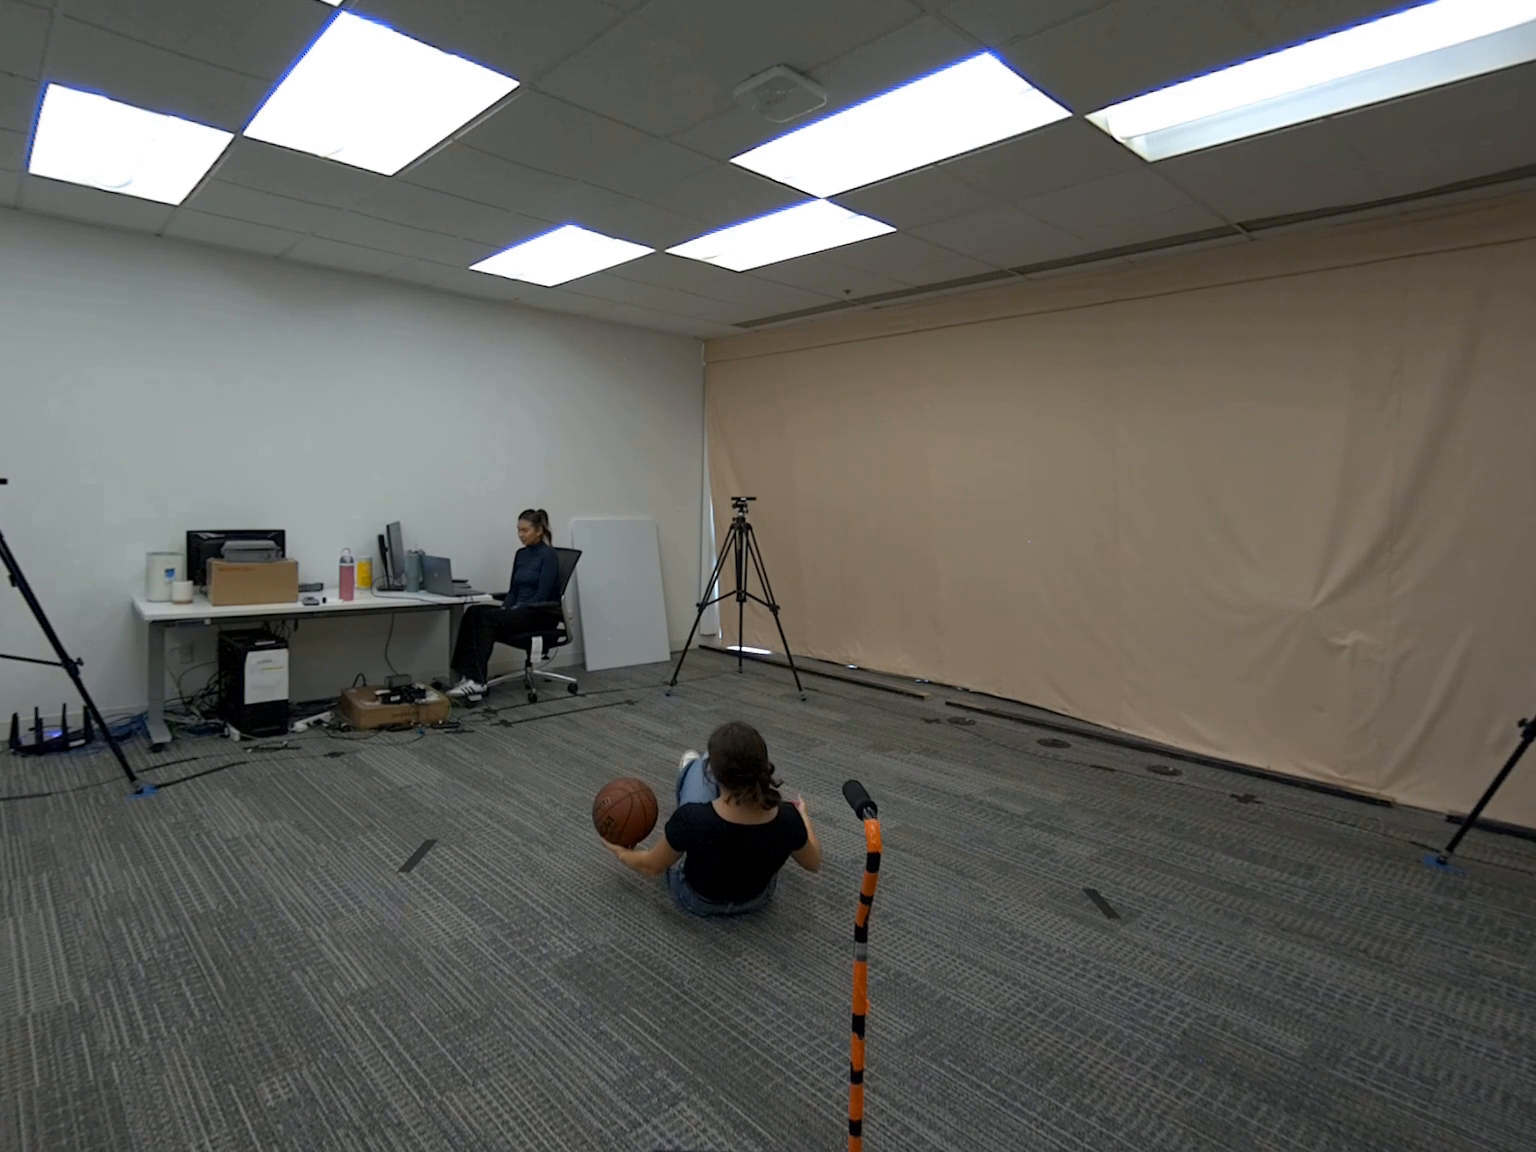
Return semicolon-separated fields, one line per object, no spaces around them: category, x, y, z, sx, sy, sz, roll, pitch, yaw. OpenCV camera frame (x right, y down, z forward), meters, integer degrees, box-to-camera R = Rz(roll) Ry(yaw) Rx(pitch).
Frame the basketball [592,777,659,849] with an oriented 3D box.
basketball;-0.523;0.852;3.048;0.236;0.235;0.237;1;4;-1
